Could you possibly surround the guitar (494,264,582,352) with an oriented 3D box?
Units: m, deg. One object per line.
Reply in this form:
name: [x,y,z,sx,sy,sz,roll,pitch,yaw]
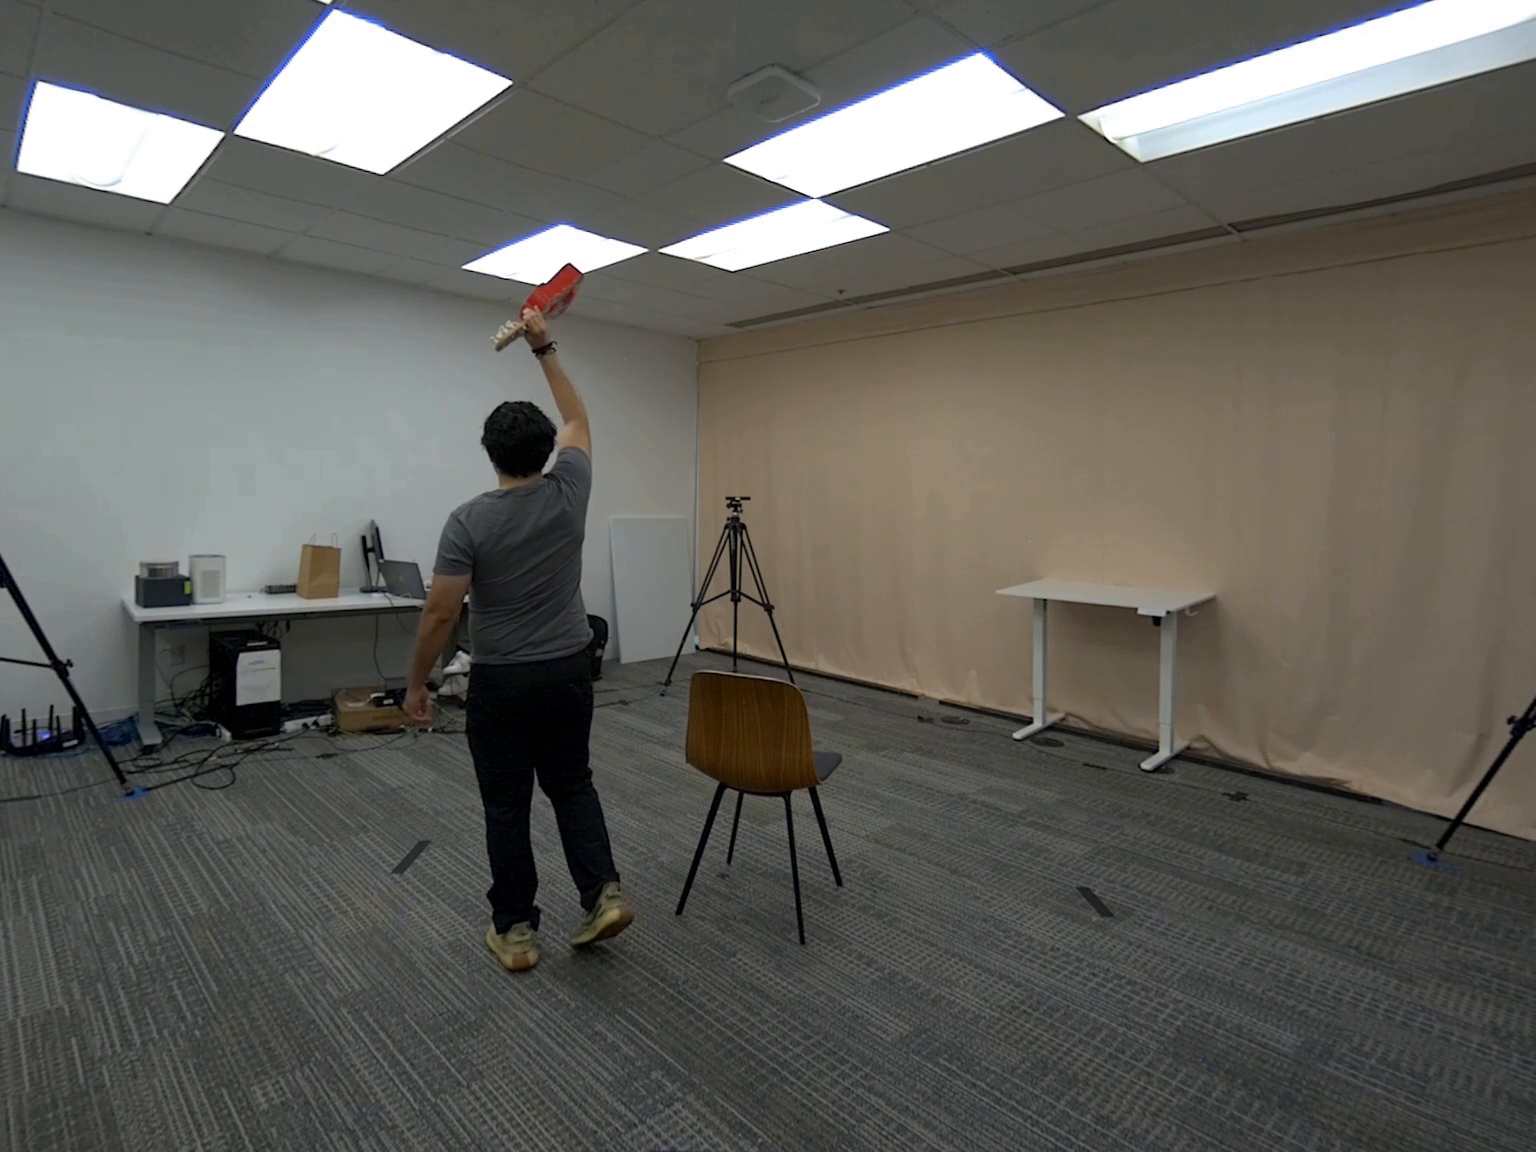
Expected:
guitar: [-0.732,-0.859,2.660,0.070,0.193,0.502,36,32,-9]
